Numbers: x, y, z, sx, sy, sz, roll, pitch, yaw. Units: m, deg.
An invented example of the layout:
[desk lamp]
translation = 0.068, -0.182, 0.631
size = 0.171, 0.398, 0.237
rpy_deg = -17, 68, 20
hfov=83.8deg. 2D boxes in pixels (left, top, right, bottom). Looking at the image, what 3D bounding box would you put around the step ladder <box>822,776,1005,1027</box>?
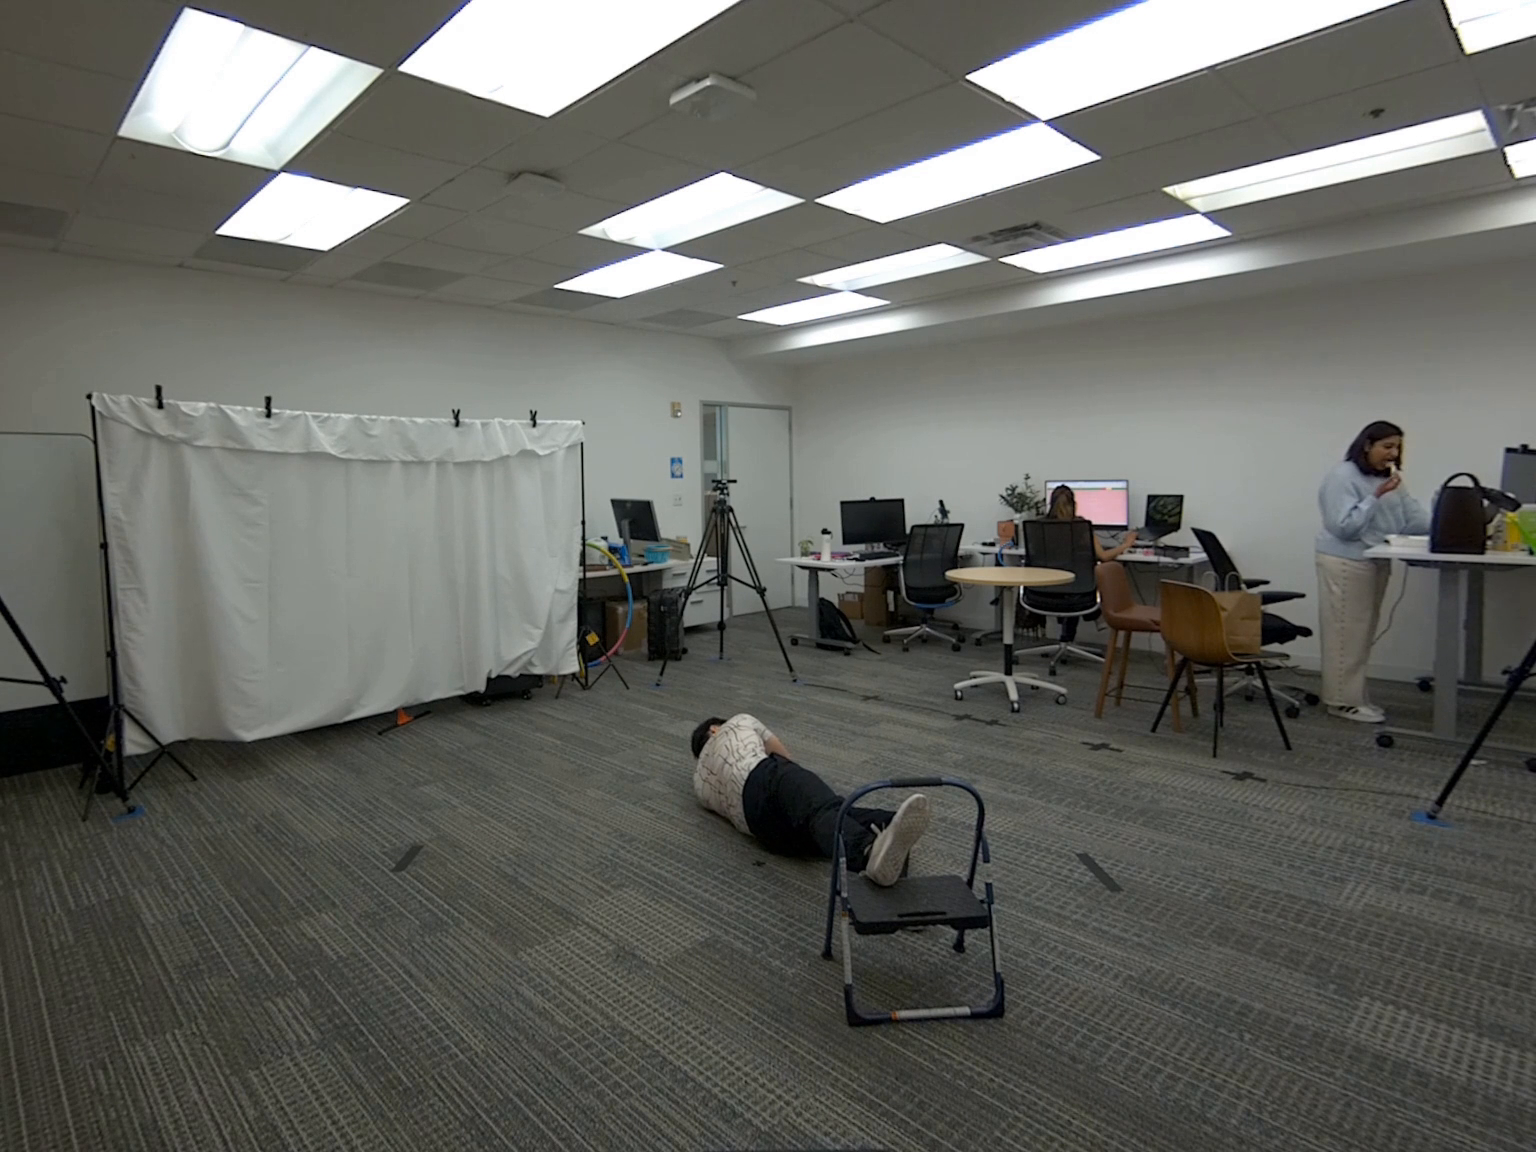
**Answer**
[step ladder]
translation = 0.391, 0.832, 2.334
size = 0.428, 0.604, 0.352
rpy_deg = -2, 4, -7
